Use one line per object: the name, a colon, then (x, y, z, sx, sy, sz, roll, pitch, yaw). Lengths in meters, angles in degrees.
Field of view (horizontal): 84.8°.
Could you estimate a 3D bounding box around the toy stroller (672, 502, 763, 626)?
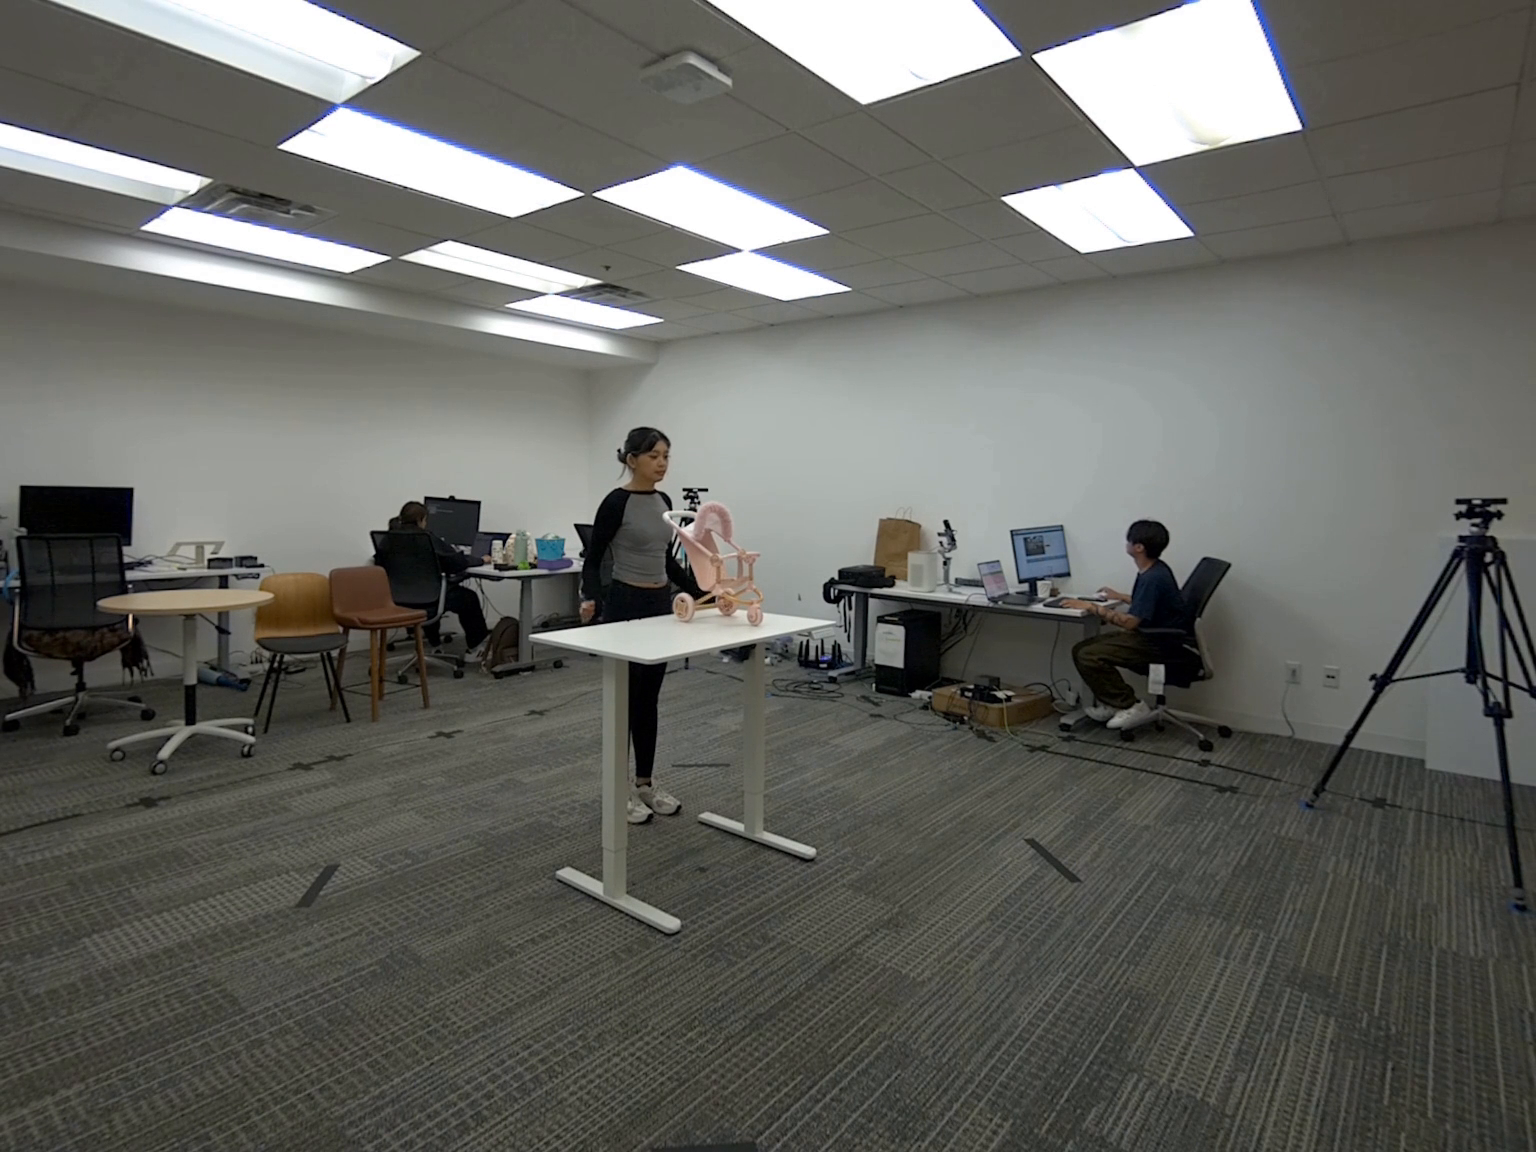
toy stroller: (-0.203, -0.053, 3.277, 0.273, 0.541, 0.348, -2, -13, -45)
